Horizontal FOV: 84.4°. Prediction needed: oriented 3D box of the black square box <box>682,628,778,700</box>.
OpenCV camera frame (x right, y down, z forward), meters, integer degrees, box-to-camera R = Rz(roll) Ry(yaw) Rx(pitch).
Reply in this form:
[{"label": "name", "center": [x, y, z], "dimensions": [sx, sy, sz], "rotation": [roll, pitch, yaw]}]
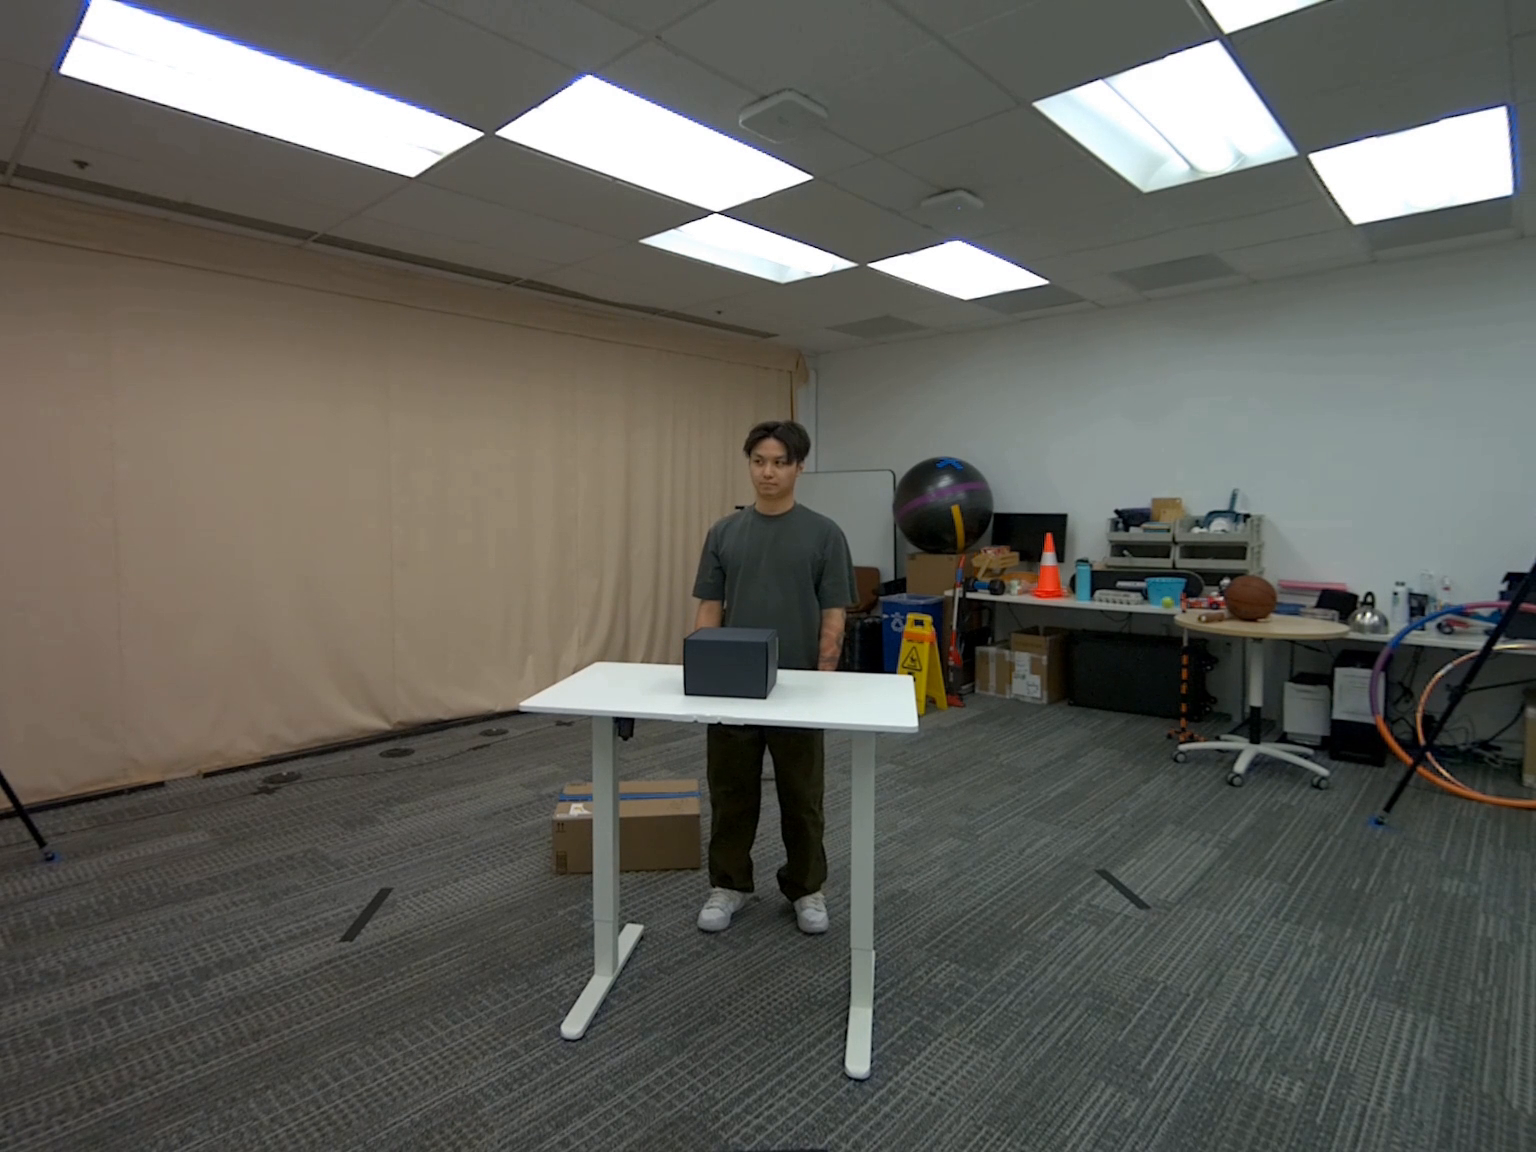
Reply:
[{"label": "black square box", "center": [-0.096, 0.235, 2.340], "dimensions": [0.231, 0.155, 0.215], "rotation": [2, 5, 11]}]
